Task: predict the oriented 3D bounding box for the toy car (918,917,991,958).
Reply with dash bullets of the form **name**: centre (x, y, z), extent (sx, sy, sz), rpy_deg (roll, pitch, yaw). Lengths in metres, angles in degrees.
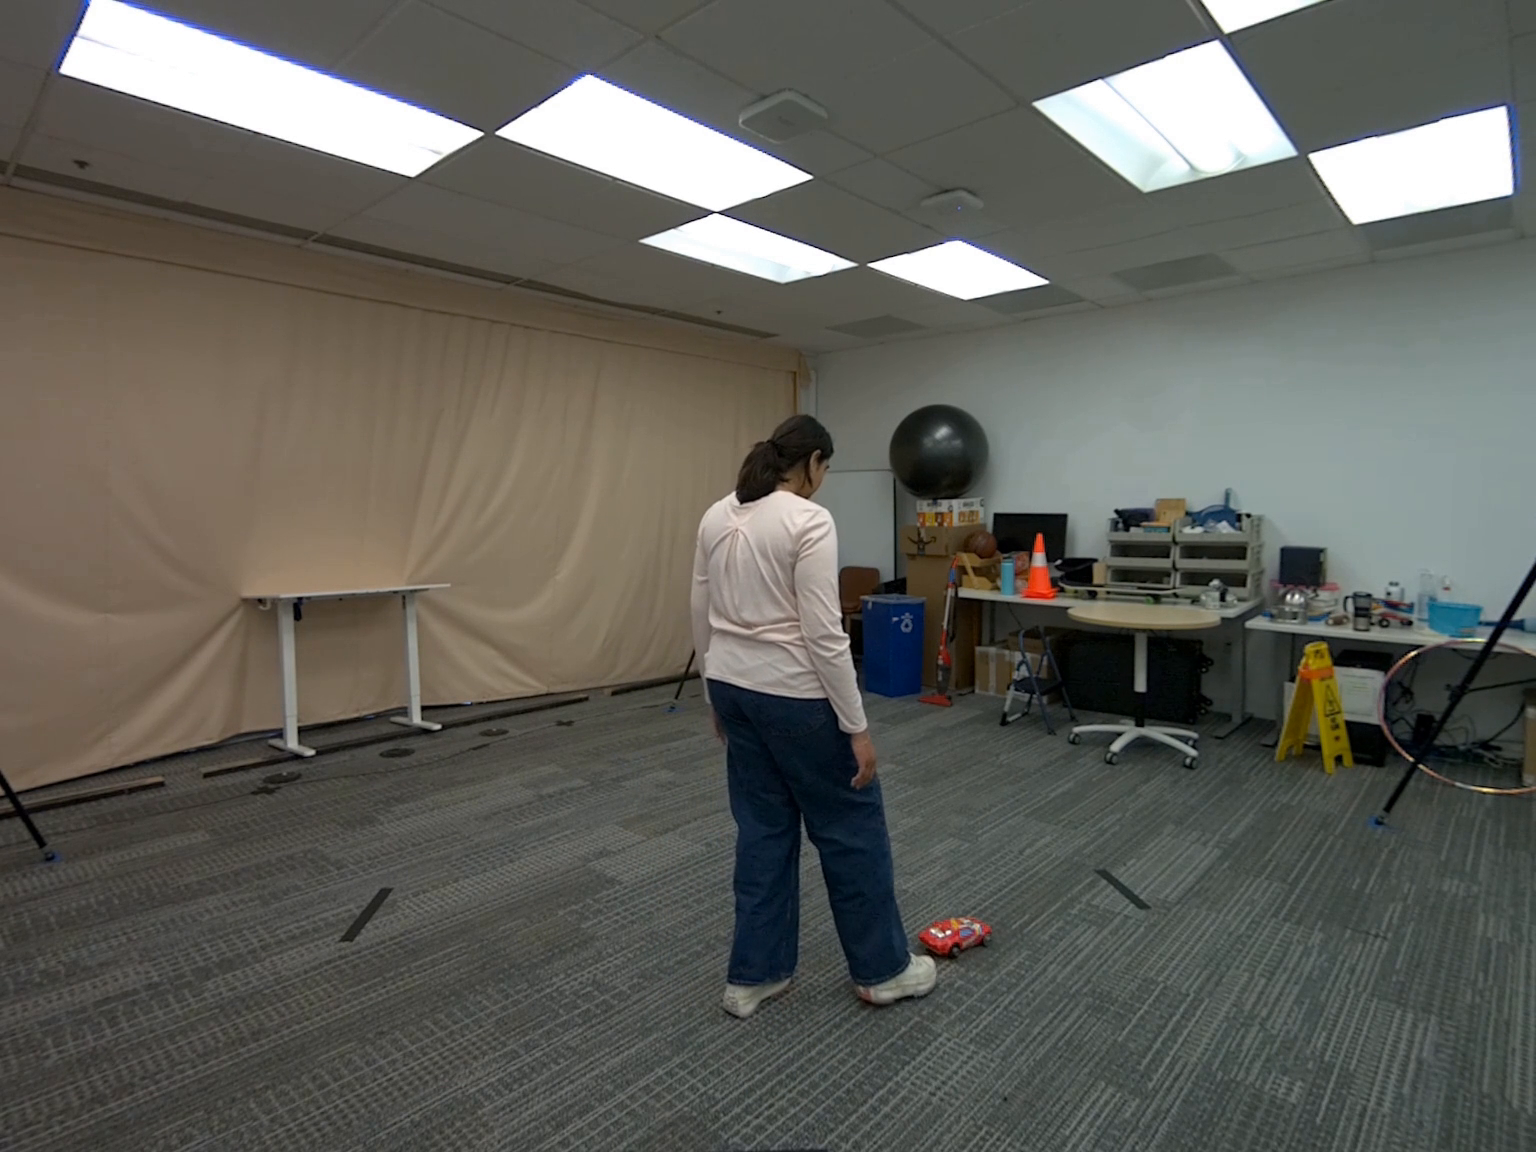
- **toy car**: centre (0.593, 1.138, 2.654), extent (0.247, 0.083, 0.134), rpy_deg (10, -1, -31)
